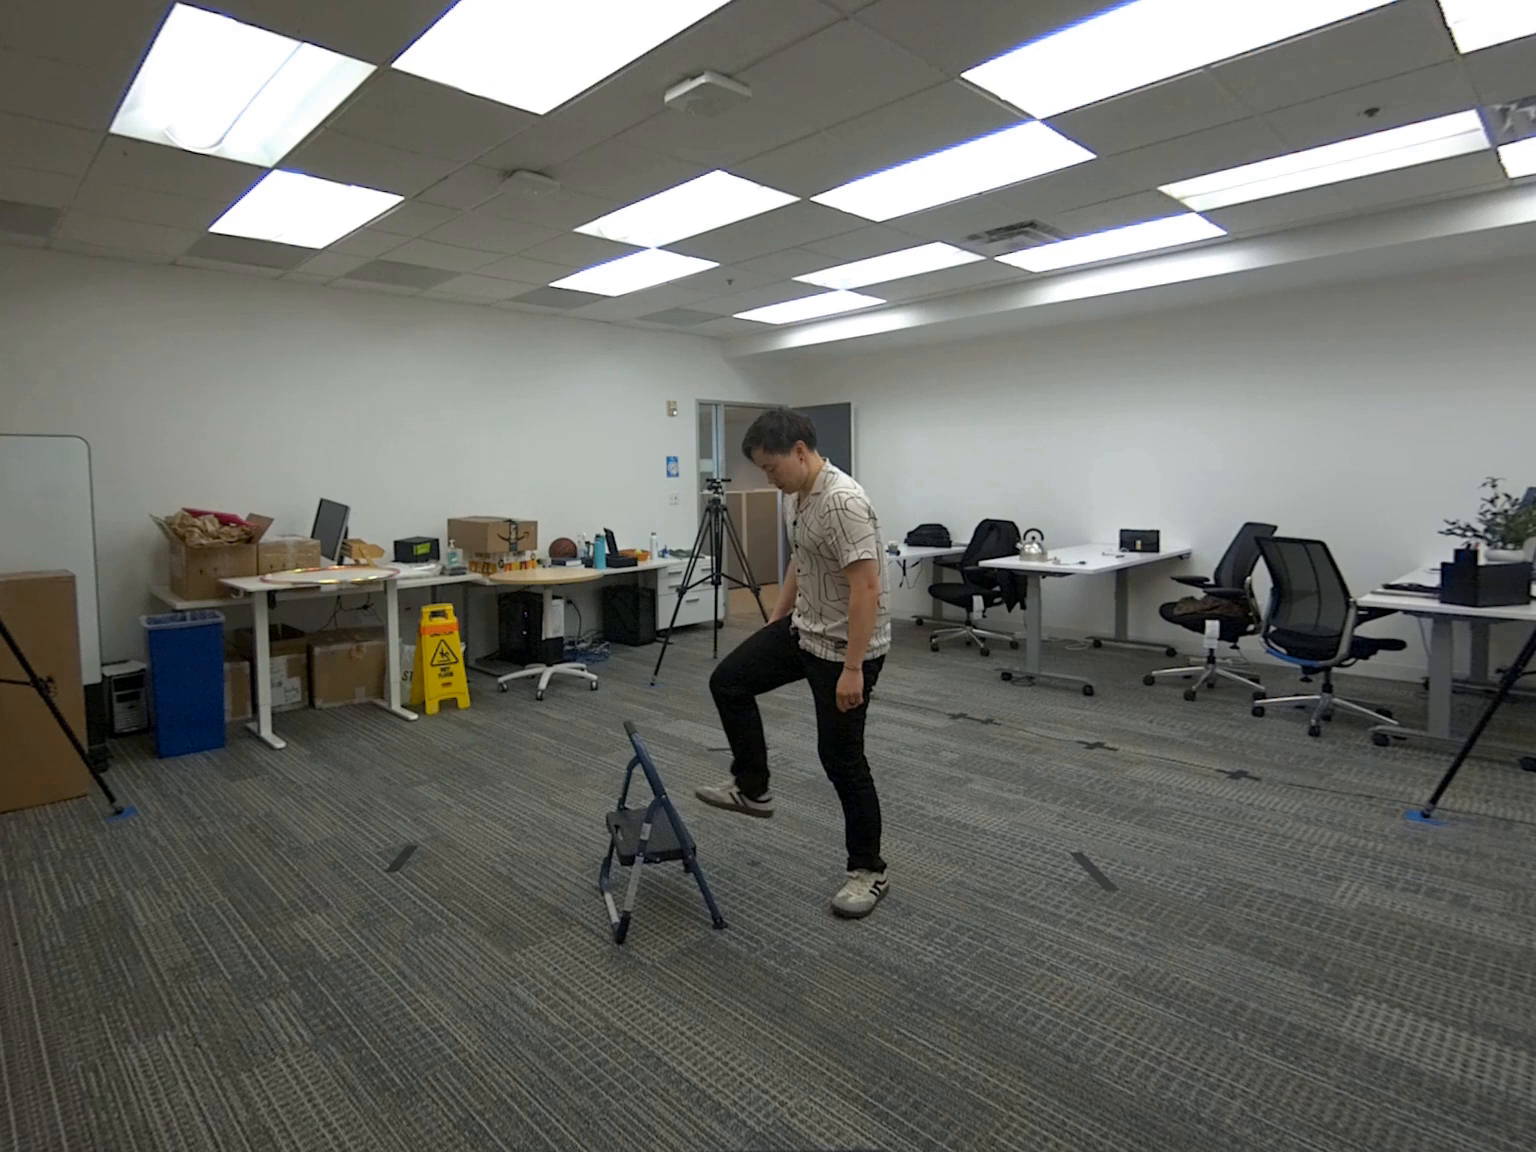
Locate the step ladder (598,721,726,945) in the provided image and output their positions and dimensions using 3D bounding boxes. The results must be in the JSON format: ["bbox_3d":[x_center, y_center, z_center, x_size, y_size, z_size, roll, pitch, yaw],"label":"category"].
[{"bbox_3d":[-0.362,0.783,2.798,0.344,0.604,0.439,-2,5,-18],"label":"step ladder"}]
